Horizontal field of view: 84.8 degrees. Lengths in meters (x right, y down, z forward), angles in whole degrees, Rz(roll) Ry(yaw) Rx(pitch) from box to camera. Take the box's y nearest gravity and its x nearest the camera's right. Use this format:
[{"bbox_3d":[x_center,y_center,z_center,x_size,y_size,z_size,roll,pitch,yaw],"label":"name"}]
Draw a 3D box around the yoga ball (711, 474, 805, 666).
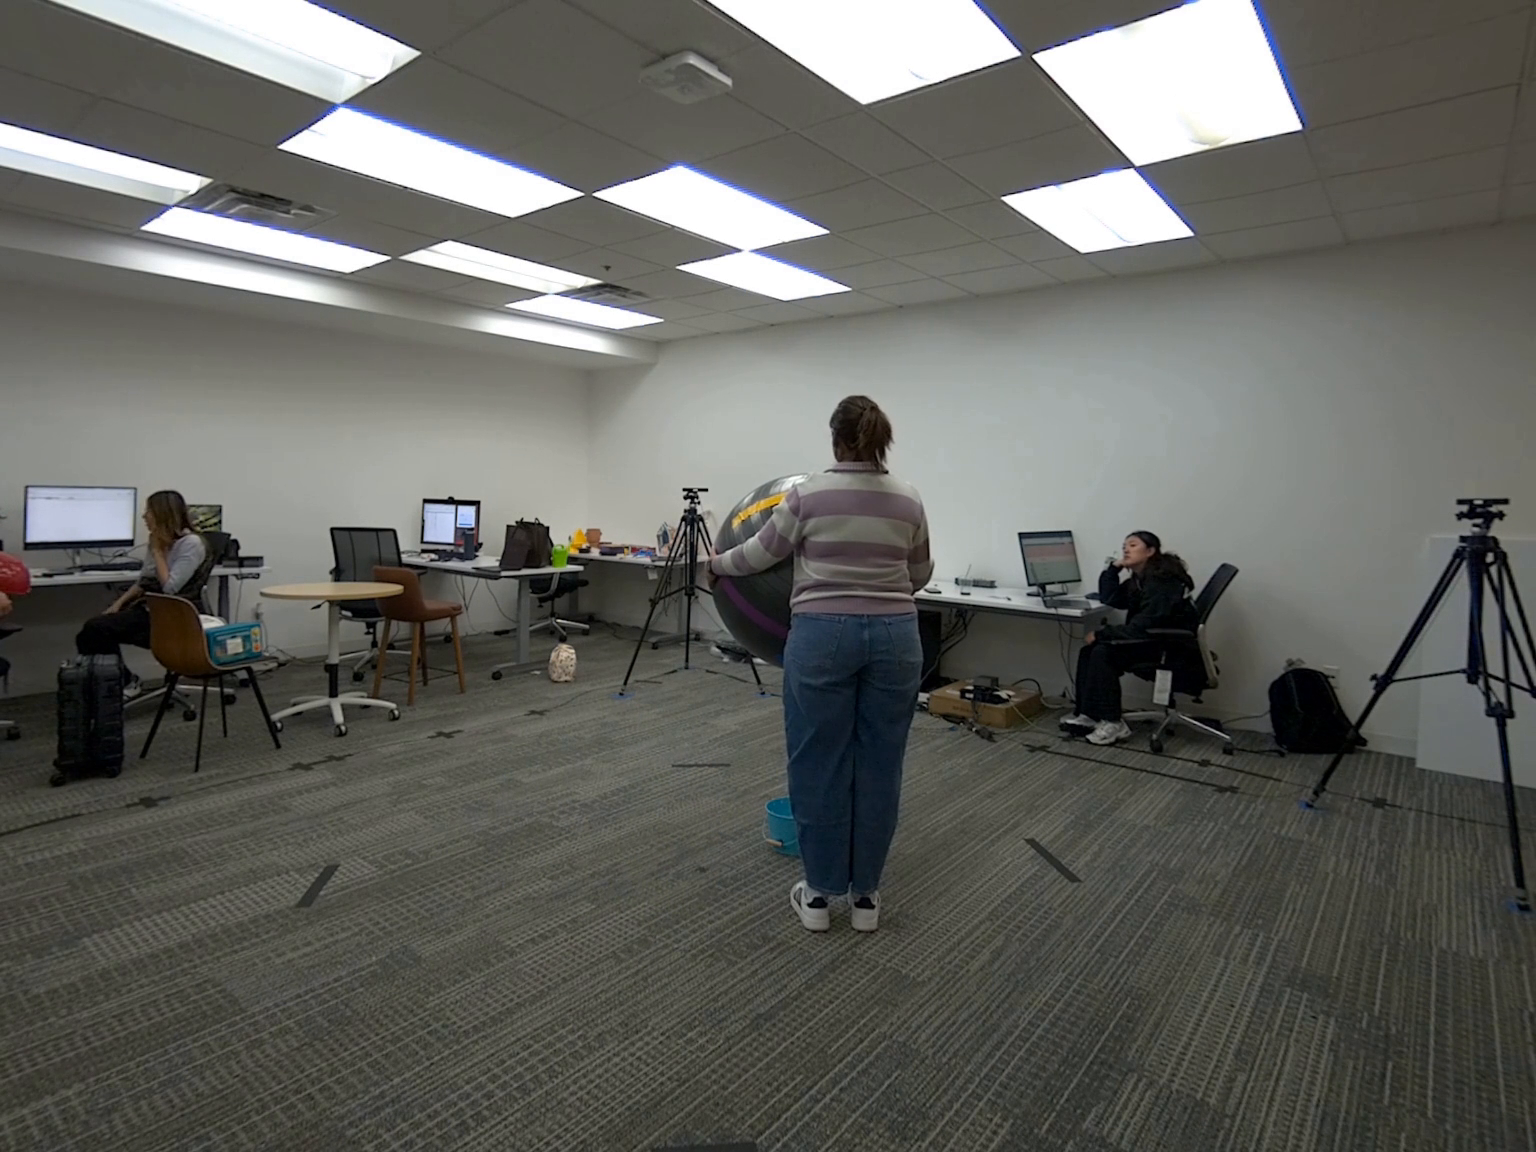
[{"bbox_3d":[0.159,-0.013,3.261,0.757,0.756,0.762,1,4,-2],"label":"yoga ball"}]
